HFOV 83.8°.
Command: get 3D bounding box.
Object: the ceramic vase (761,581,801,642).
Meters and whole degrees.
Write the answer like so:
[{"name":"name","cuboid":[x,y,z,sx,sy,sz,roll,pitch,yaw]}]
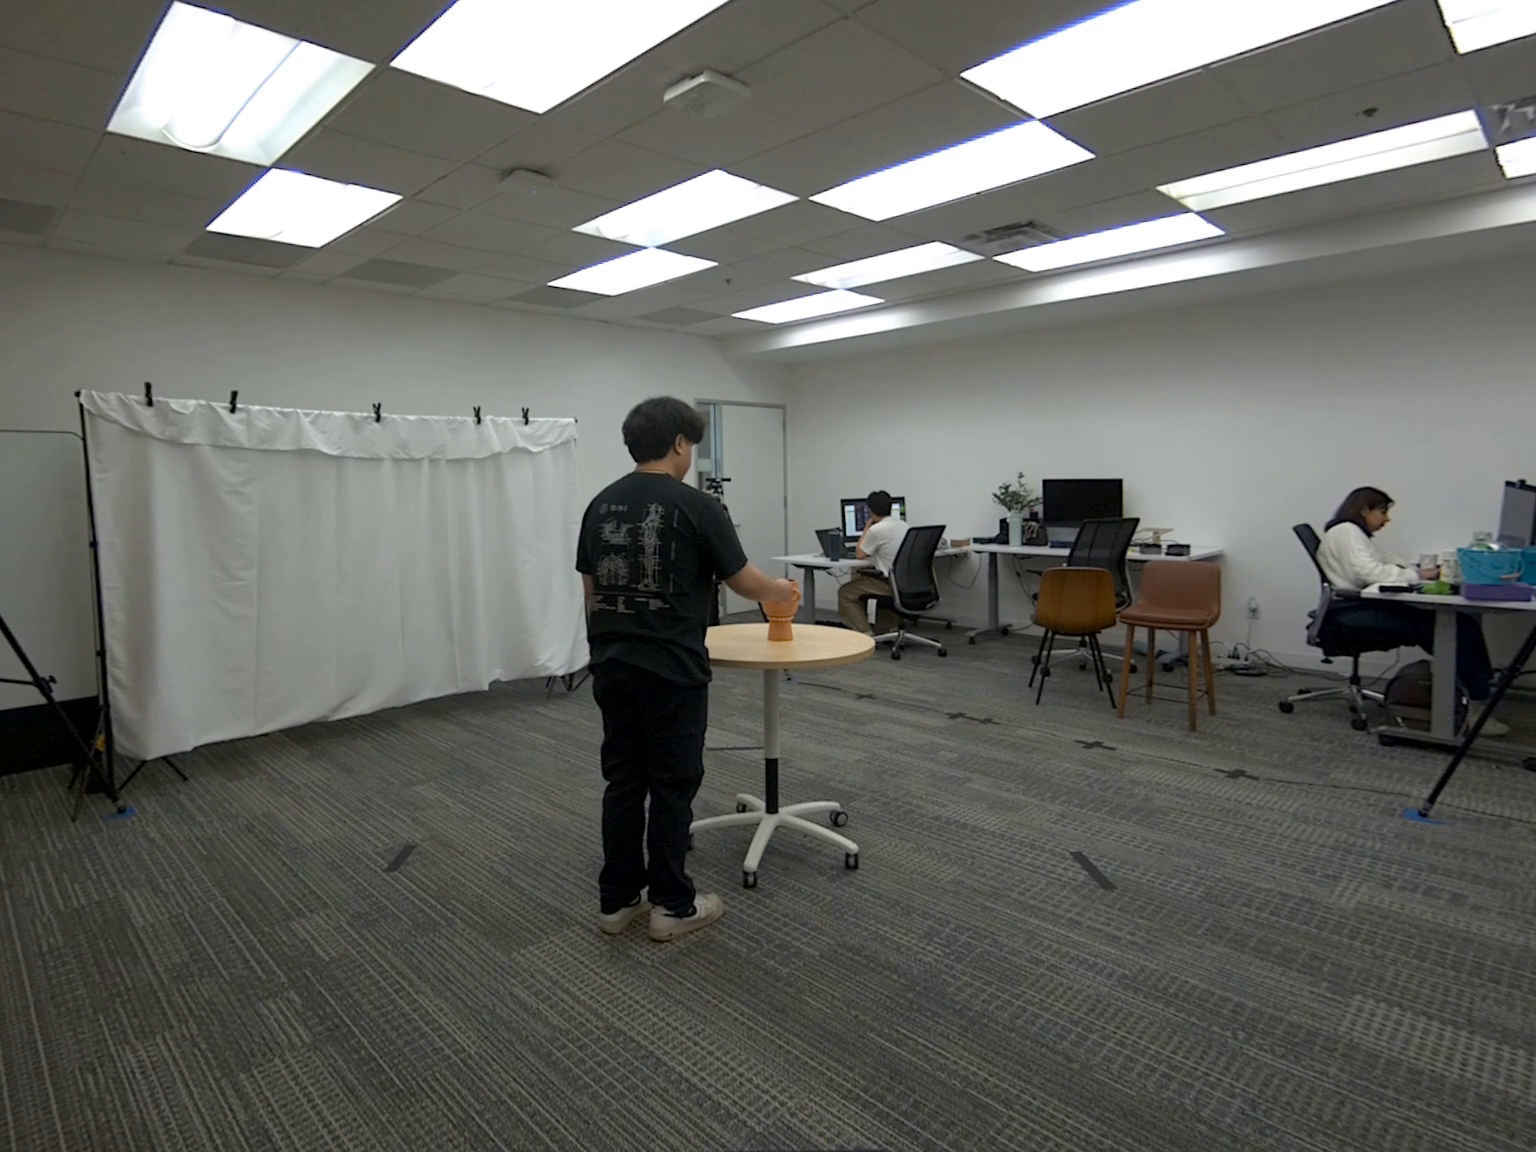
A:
[{"name":"ceramic vase","cuboid":[0.051,0.128,3.197,0.134,0.219,0.160,-1,4,-8]}]
